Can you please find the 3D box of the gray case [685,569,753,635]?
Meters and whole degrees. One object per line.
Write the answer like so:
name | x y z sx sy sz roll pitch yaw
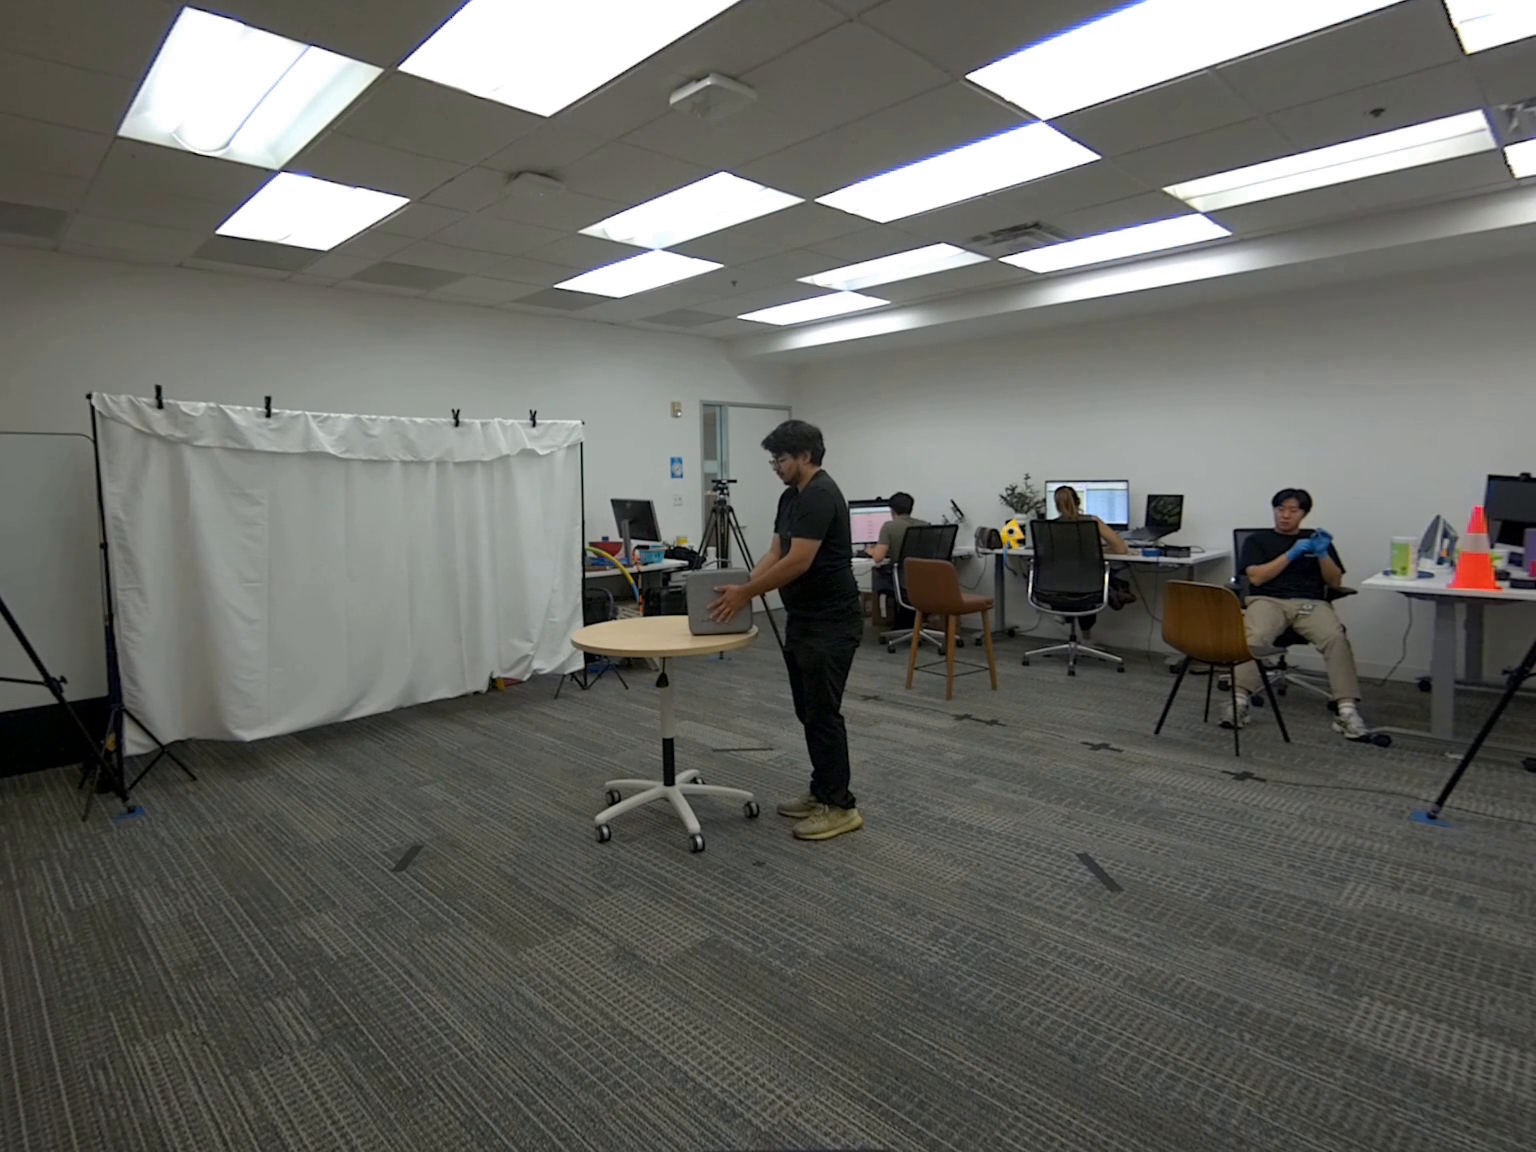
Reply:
gray case | -0.198 0.101 3.438 0.256 0.261 0.104 -3 -3 -2
